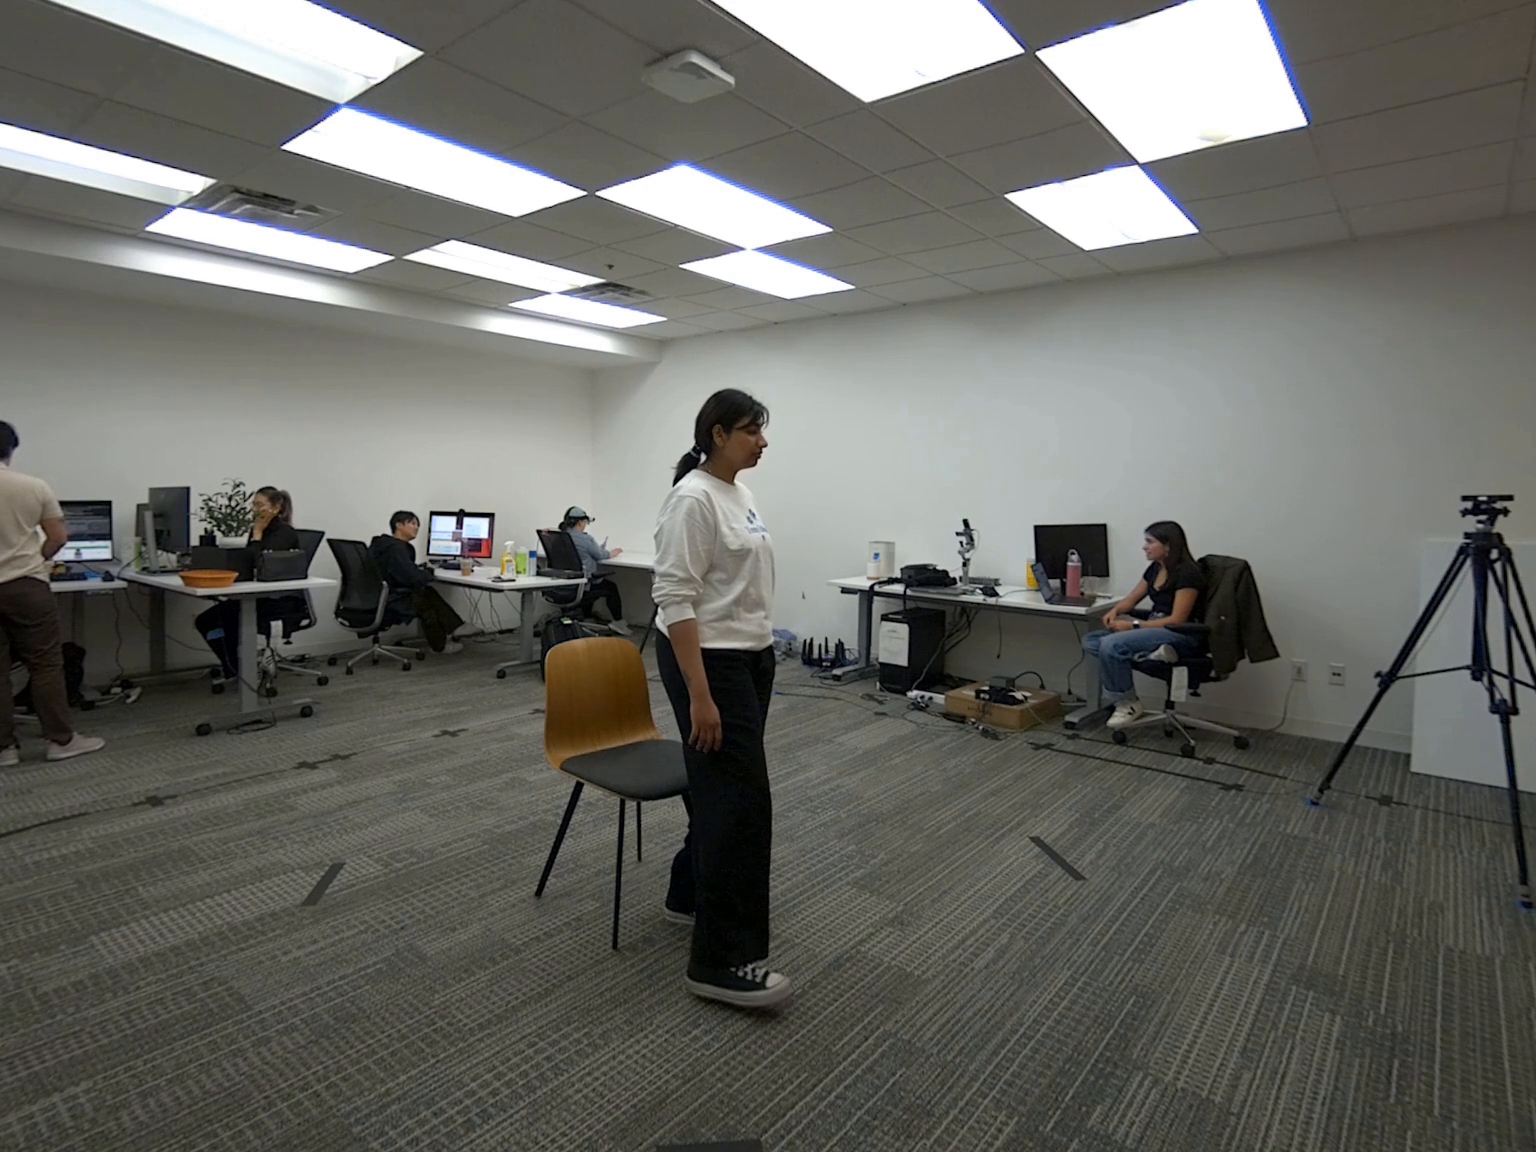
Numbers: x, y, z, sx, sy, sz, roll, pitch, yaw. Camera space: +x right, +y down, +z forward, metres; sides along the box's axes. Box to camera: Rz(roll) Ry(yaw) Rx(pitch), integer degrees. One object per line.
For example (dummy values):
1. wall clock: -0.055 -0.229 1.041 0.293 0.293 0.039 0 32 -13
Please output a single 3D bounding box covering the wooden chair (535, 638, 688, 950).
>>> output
1. wooden chair: -0.458 0.661 2.832 0.463 0.878 0.539 -2 0 -45
